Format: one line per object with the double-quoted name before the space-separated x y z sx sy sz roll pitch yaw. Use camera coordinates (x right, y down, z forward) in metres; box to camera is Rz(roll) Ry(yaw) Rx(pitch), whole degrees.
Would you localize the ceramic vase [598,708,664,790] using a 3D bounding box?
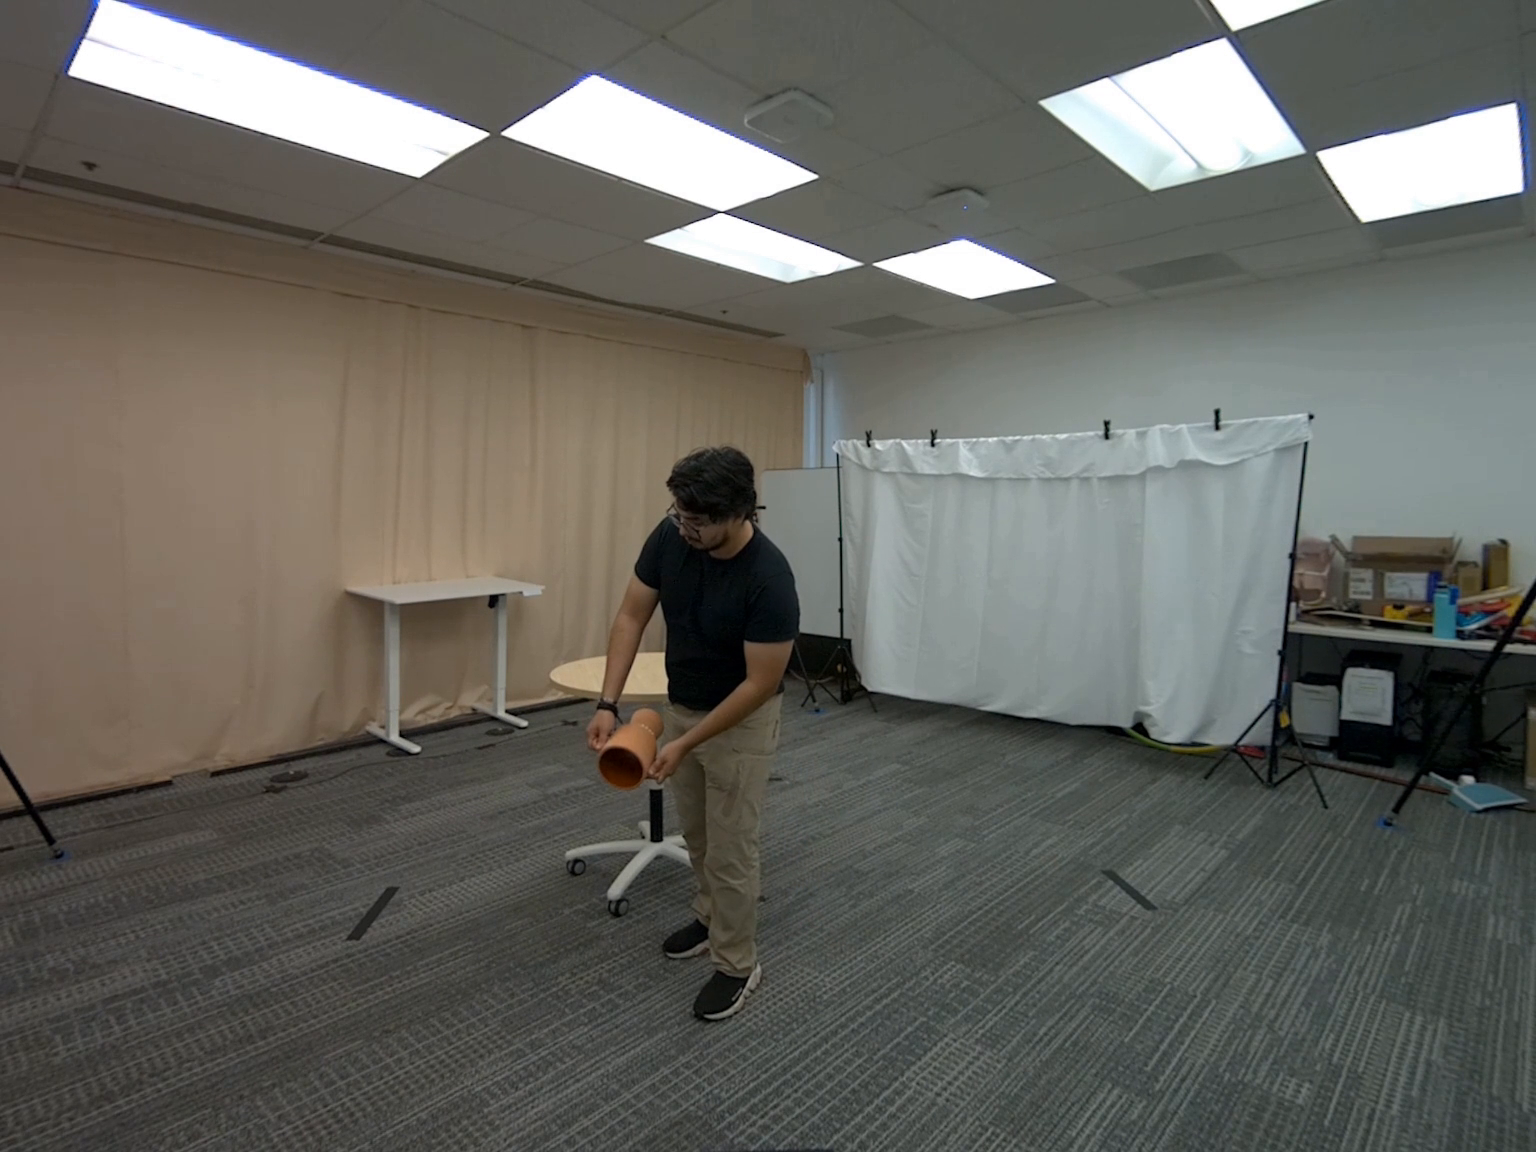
"ceramic vase" -0.352 0.454 2.230 0.136 0.157 0.219 -27 12 19
